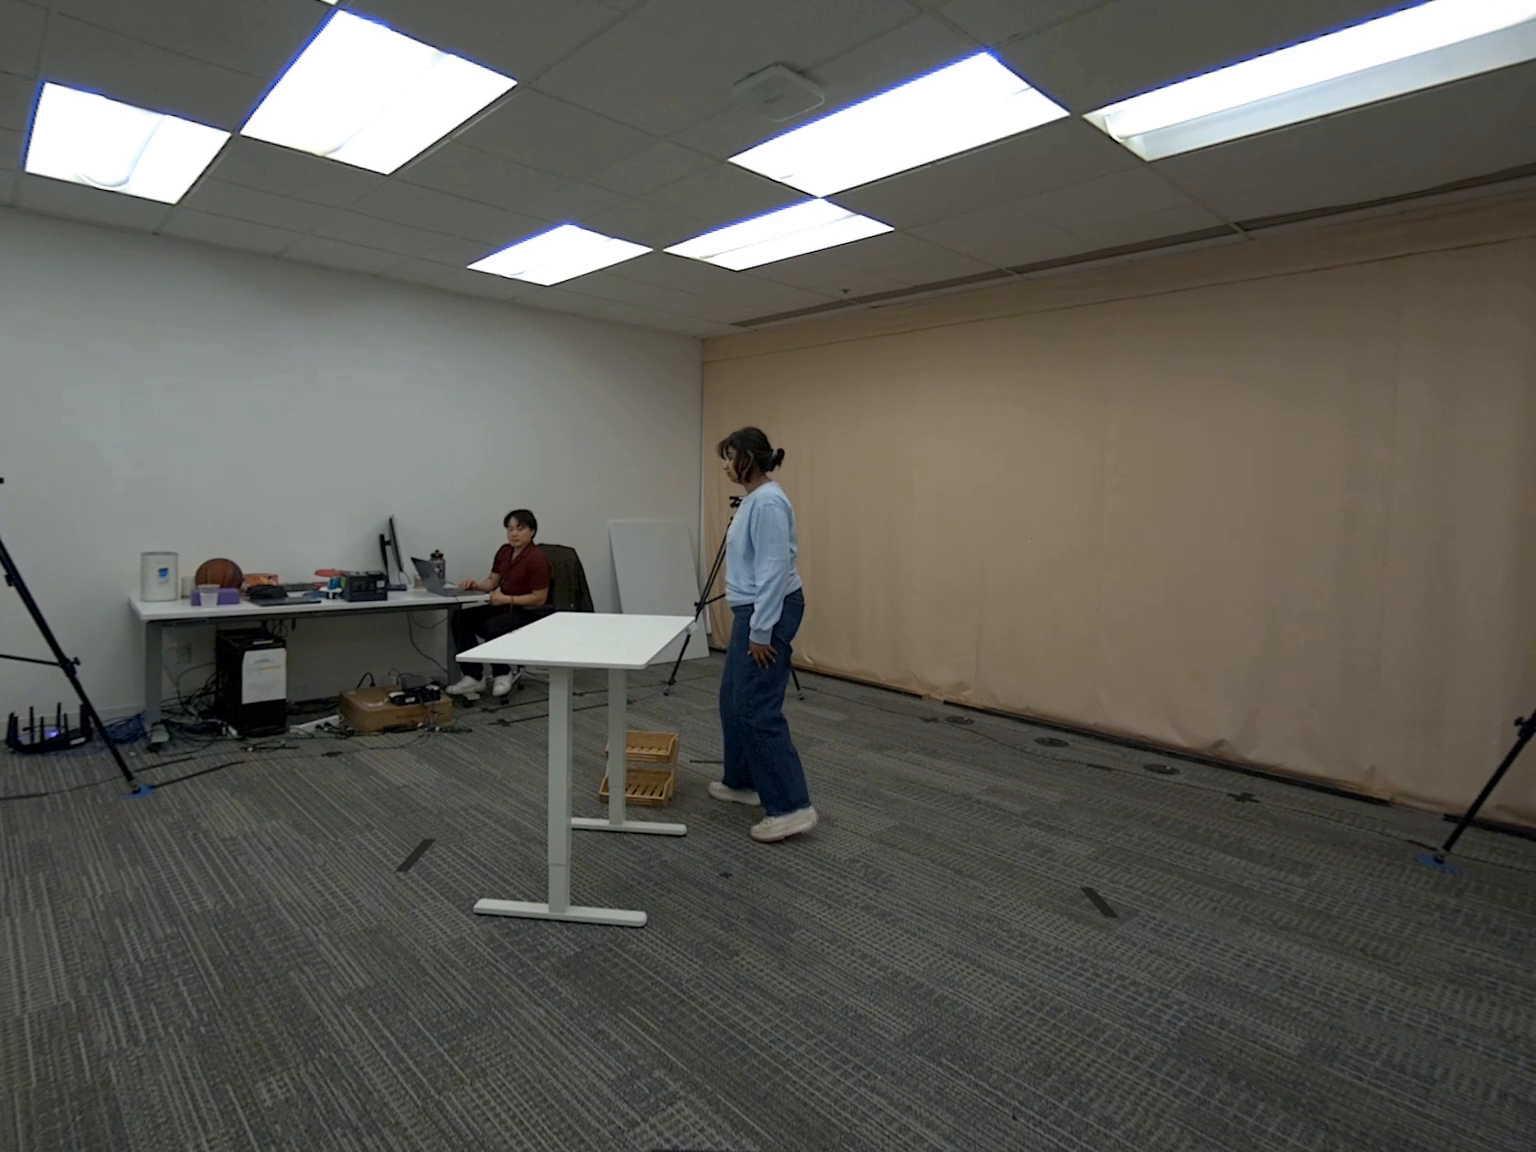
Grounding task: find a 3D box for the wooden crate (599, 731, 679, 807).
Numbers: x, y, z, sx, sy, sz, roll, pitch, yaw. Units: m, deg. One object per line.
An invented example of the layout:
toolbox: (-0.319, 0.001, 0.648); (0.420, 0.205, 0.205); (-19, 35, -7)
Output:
wooden crate: (-0.604, 0.889, 3.917); (0.327, 0.273, 0.300); (2, 3, 8)
